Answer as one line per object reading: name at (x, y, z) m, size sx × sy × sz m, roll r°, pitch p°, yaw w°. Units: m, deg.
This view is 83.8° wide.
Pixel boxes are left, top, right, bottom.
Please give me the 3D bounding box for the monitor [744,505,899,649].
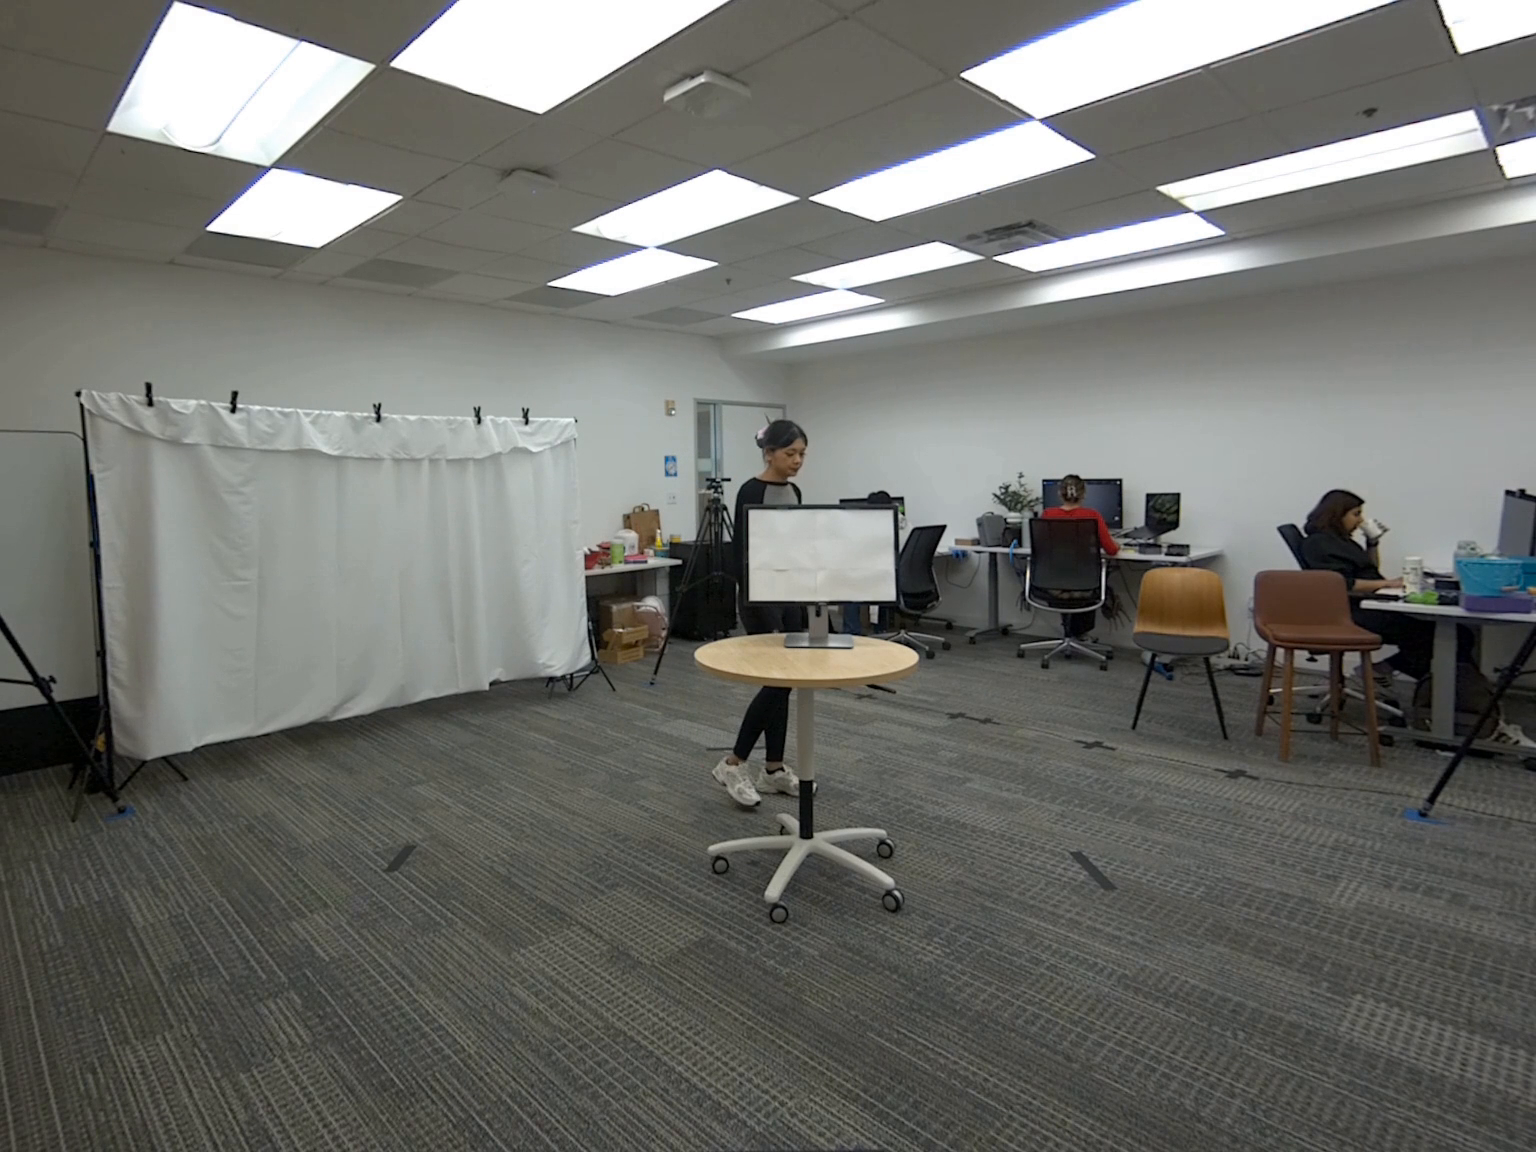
monitor at (0.179, 0.000, 3.116) m, size 0.537 × 0.520 × 0.188 m, roll -1°, pitch 5°, yaw -3°
